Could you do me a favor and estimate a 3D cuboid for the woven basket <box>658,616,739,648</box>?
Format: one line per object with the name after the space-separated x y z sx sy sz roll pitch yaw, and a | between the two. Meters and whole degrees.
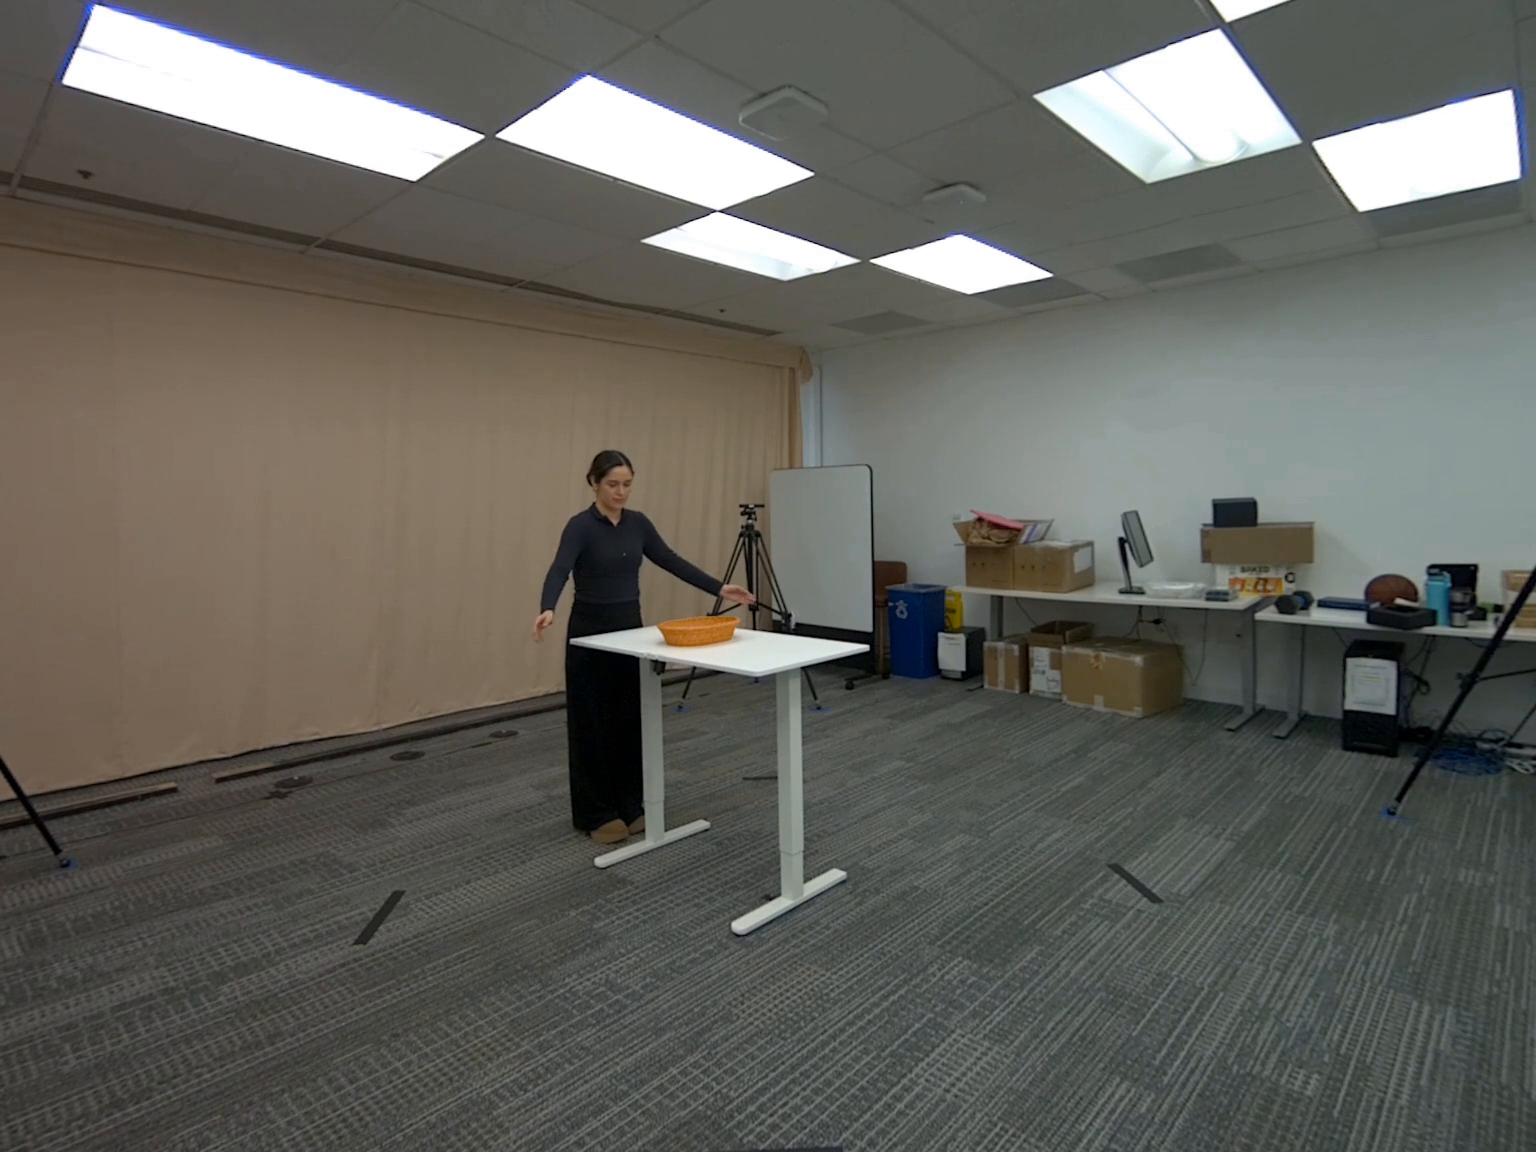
-0.274 0.217 3.192 0.340 0.073 0.261 -7 9 -44 | woven basket
